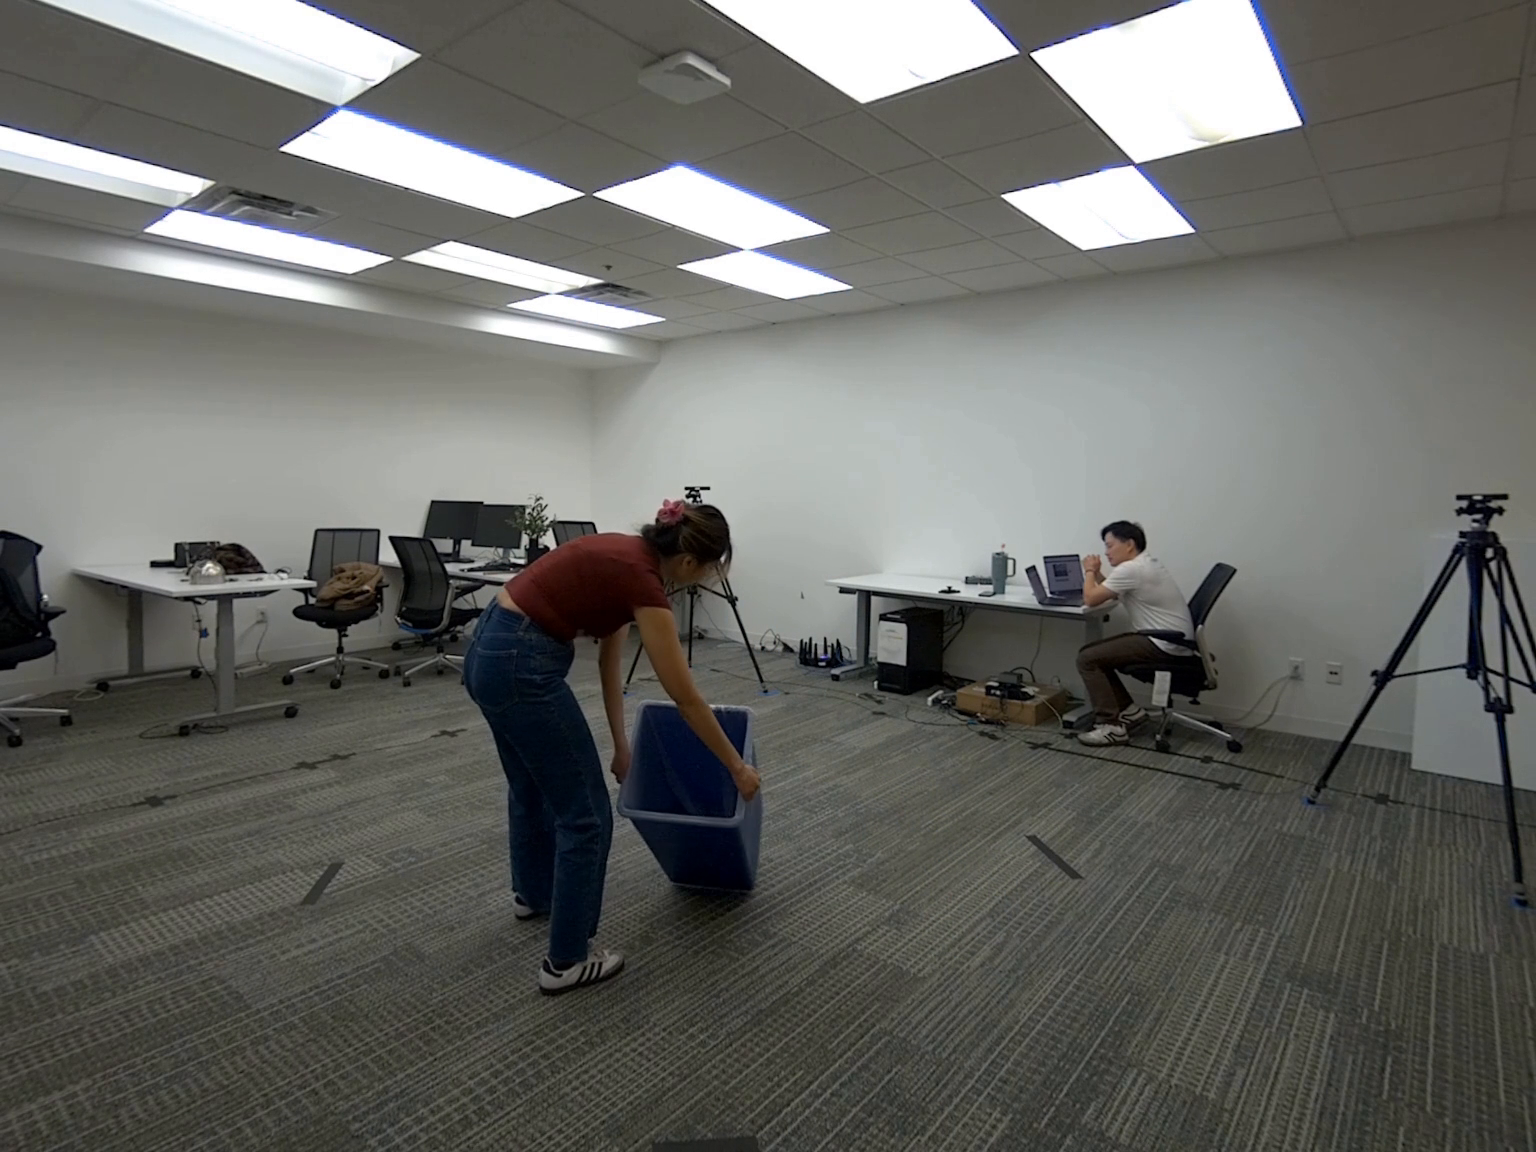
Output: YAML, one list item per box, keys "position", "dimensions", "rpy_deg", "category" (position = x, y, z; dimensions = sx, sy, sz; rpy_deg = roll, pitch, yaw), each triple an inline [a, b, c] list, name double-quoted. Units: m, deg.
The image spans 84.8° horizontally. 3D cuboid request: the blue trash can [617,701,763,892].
- position: [-0.221, 0.751, 2.764]
  dimensions: [0.382, 0.383, 0.690]
  rpy_deg: [1, -39, 9]
  category: "blue trash can"
